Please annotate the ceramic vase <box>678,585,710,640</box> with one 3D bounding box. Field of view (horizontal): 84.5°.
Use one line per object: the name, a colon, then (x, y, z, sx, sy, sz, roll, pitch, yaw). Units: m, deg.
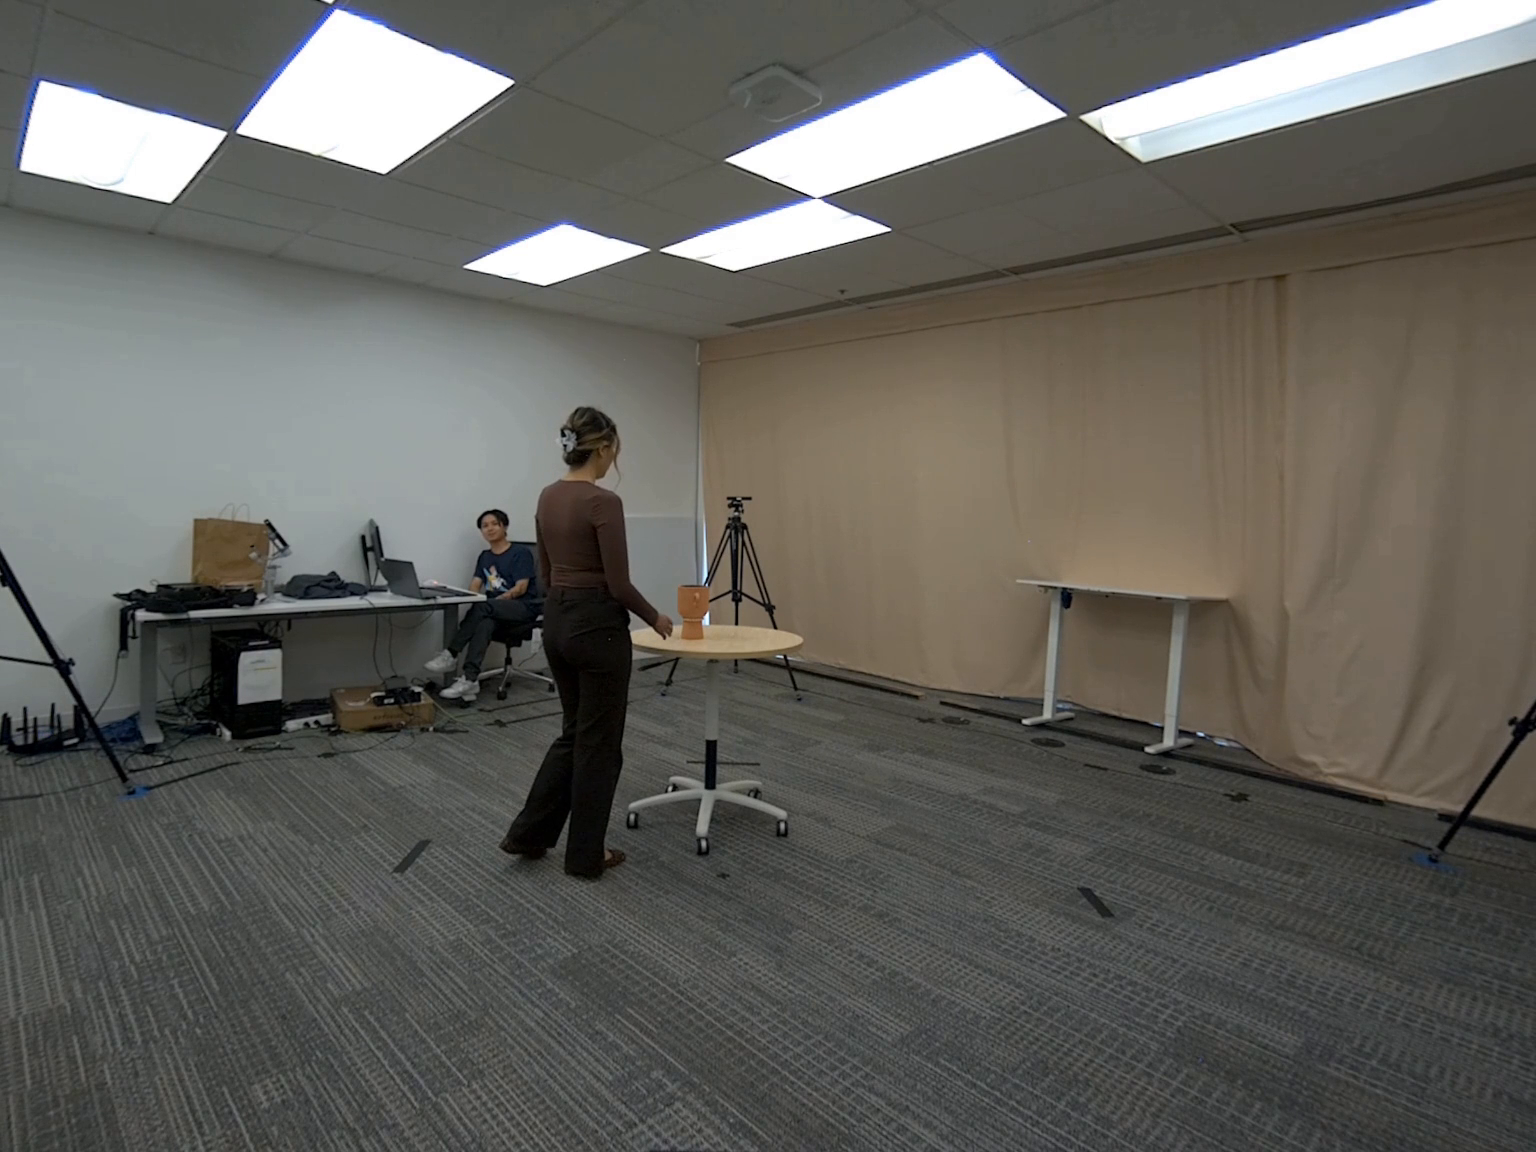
ceramic vase: (-0.328, 0.153, 3.575, 0.137, 0.219, 0.156, 2, 3, 23)
